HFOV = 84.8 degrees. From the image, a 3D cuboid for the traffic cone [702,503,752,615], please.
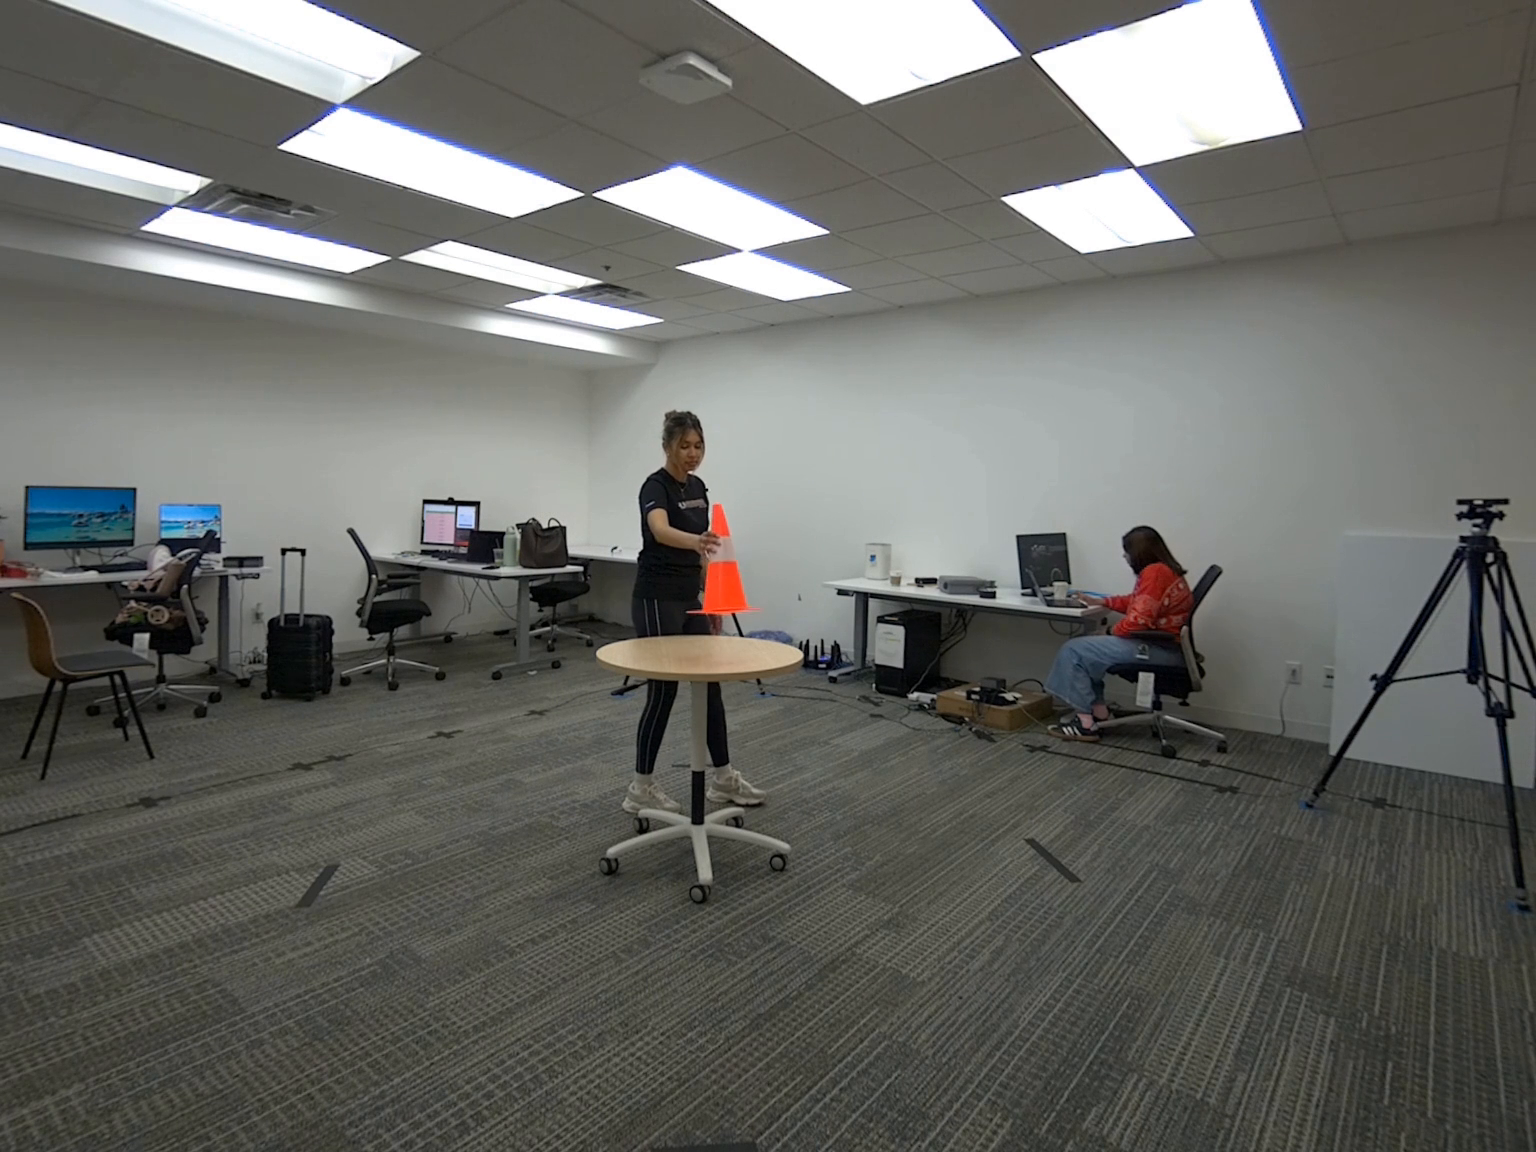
[{"bbox_3d":[-0.172,-0.071,2.997,0.208,0.387,0.198,-9,-9,30],"label":"traffic cone"}]
